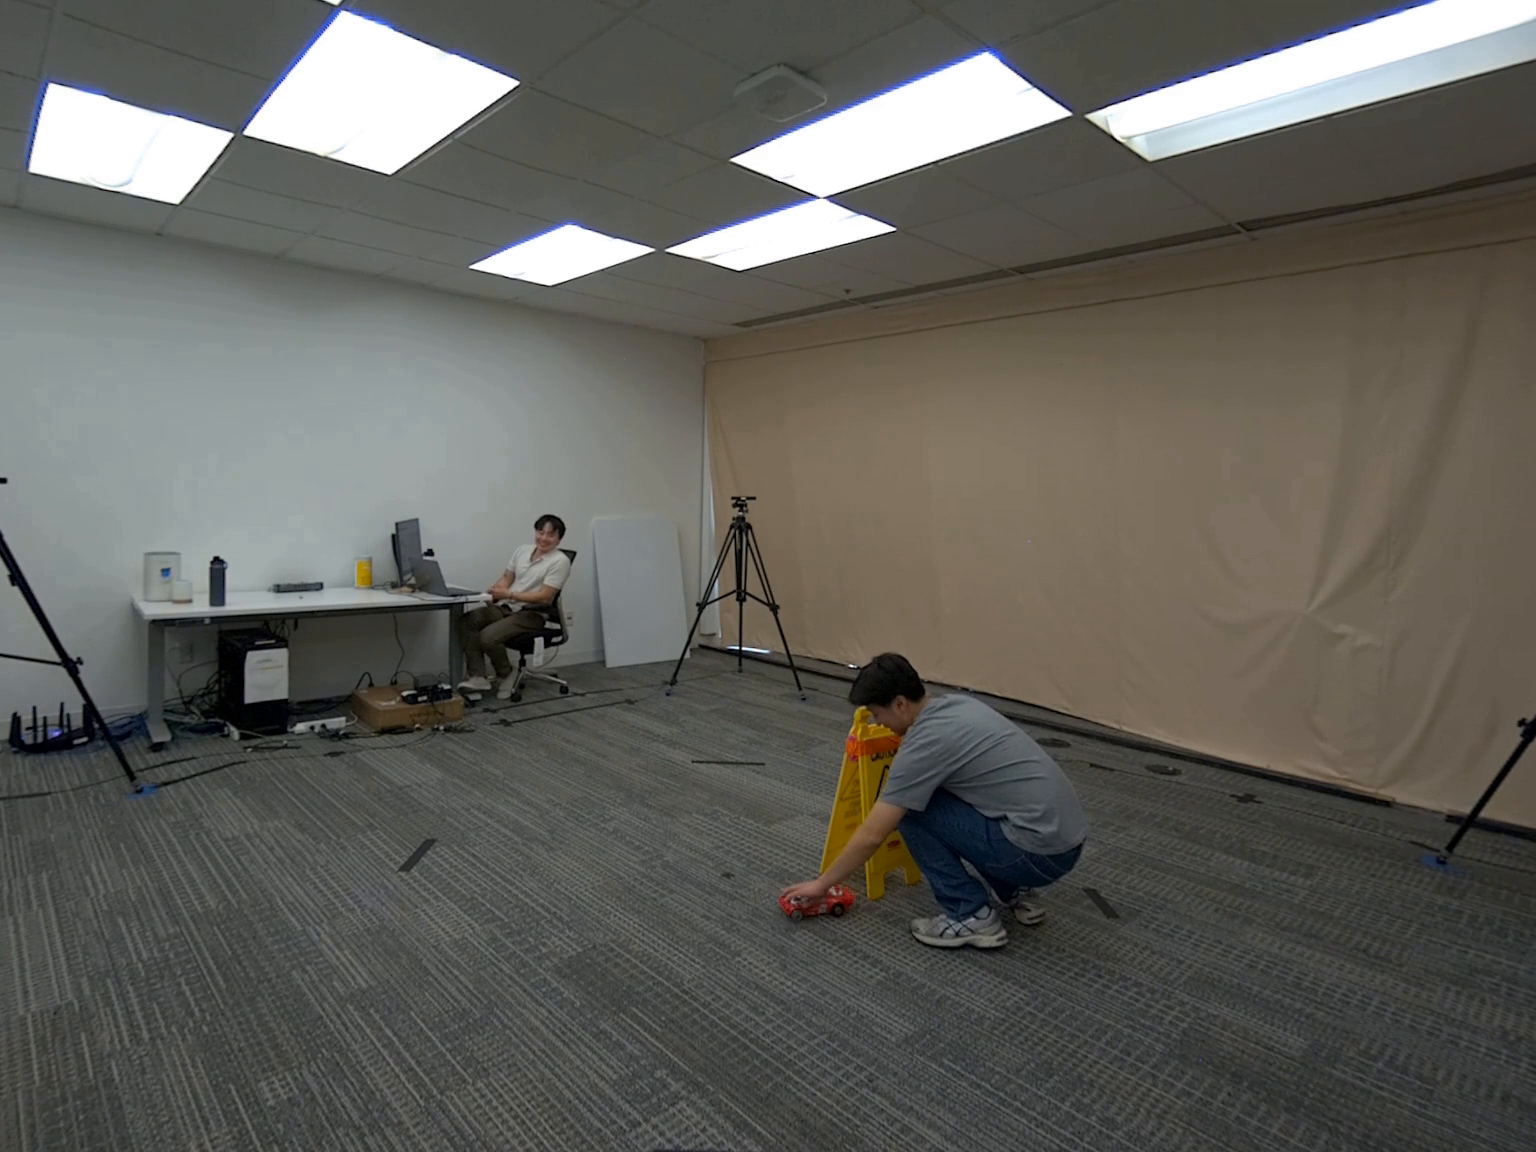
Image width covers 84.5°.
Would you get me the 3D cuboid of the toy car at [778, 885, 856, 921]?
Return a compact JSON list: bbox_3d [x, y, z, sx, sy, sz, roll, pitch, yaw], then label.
[{"bbox_3d":[0.172,1.100,2.859,0.253,0.083,0.132,-13,8,-12],"label":"toy car"}]
